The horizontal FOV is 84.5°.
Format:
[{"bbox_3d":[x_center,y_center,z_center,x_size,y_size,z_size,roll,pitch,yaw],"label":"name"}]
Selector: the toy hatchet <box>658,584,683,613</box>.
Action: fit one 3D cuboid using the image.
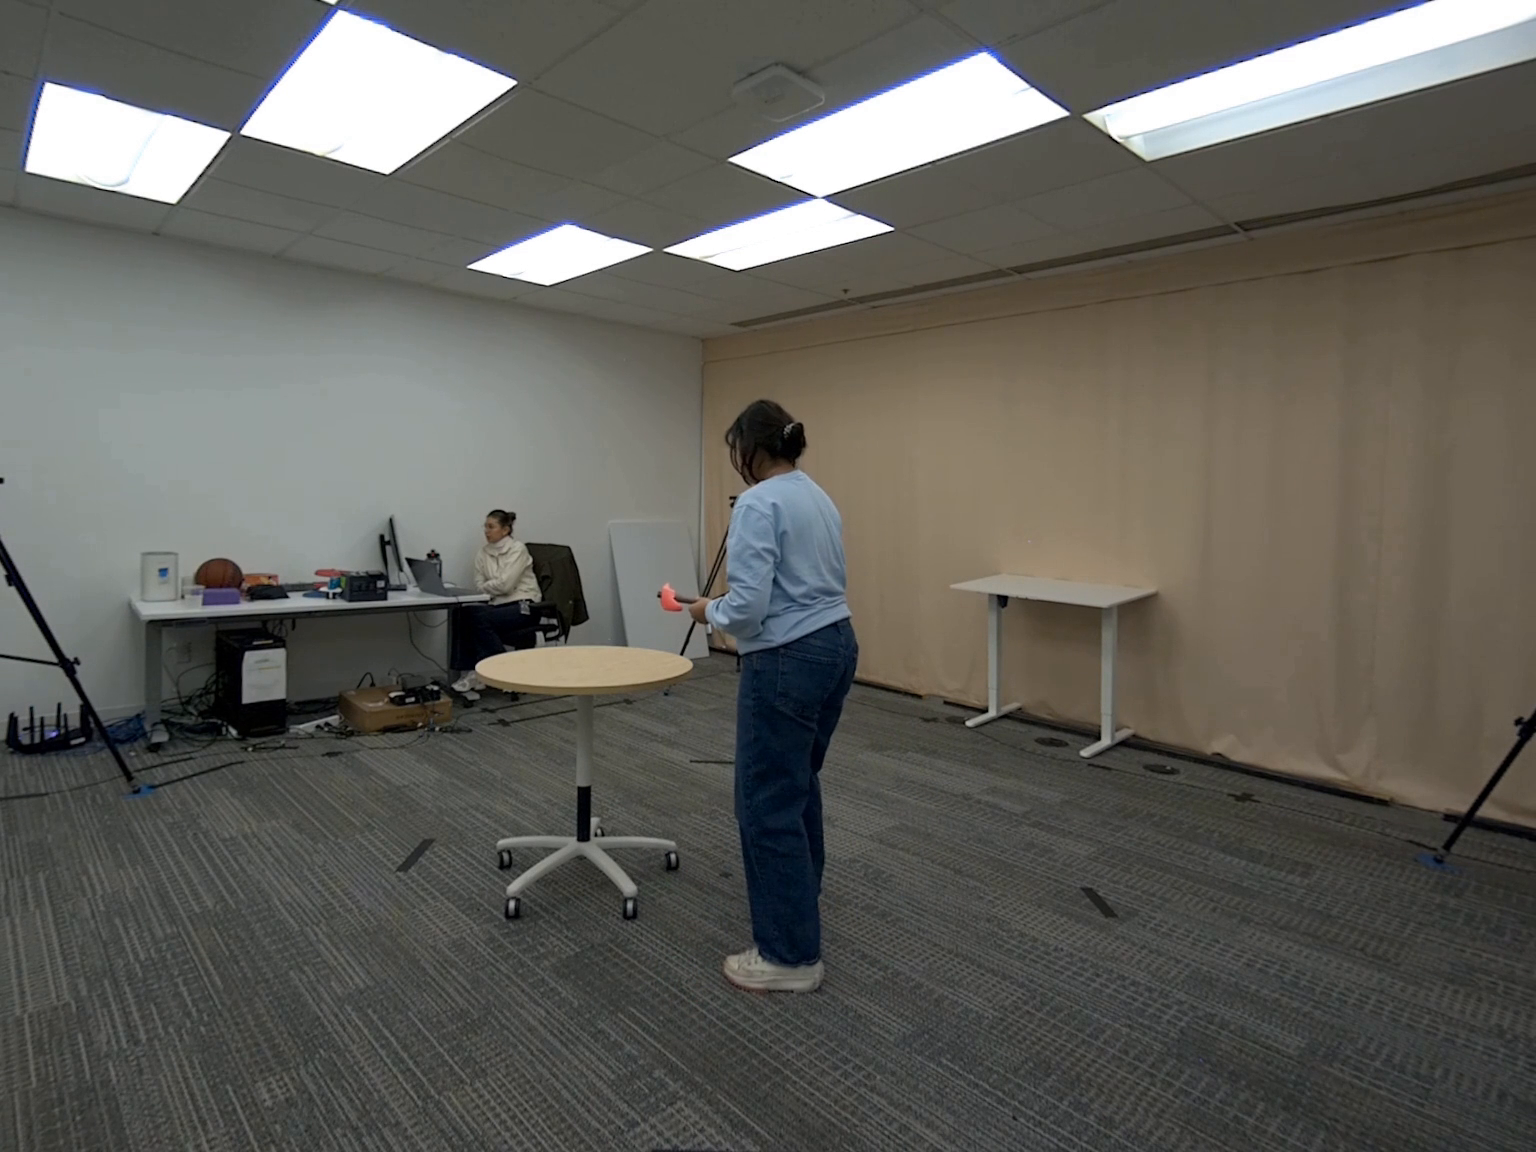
[{"bbox_3d":[-0.218,0.098,2.605,0.273,0.029,0.131,17,34,12],"label":"toy hatchet"}]
